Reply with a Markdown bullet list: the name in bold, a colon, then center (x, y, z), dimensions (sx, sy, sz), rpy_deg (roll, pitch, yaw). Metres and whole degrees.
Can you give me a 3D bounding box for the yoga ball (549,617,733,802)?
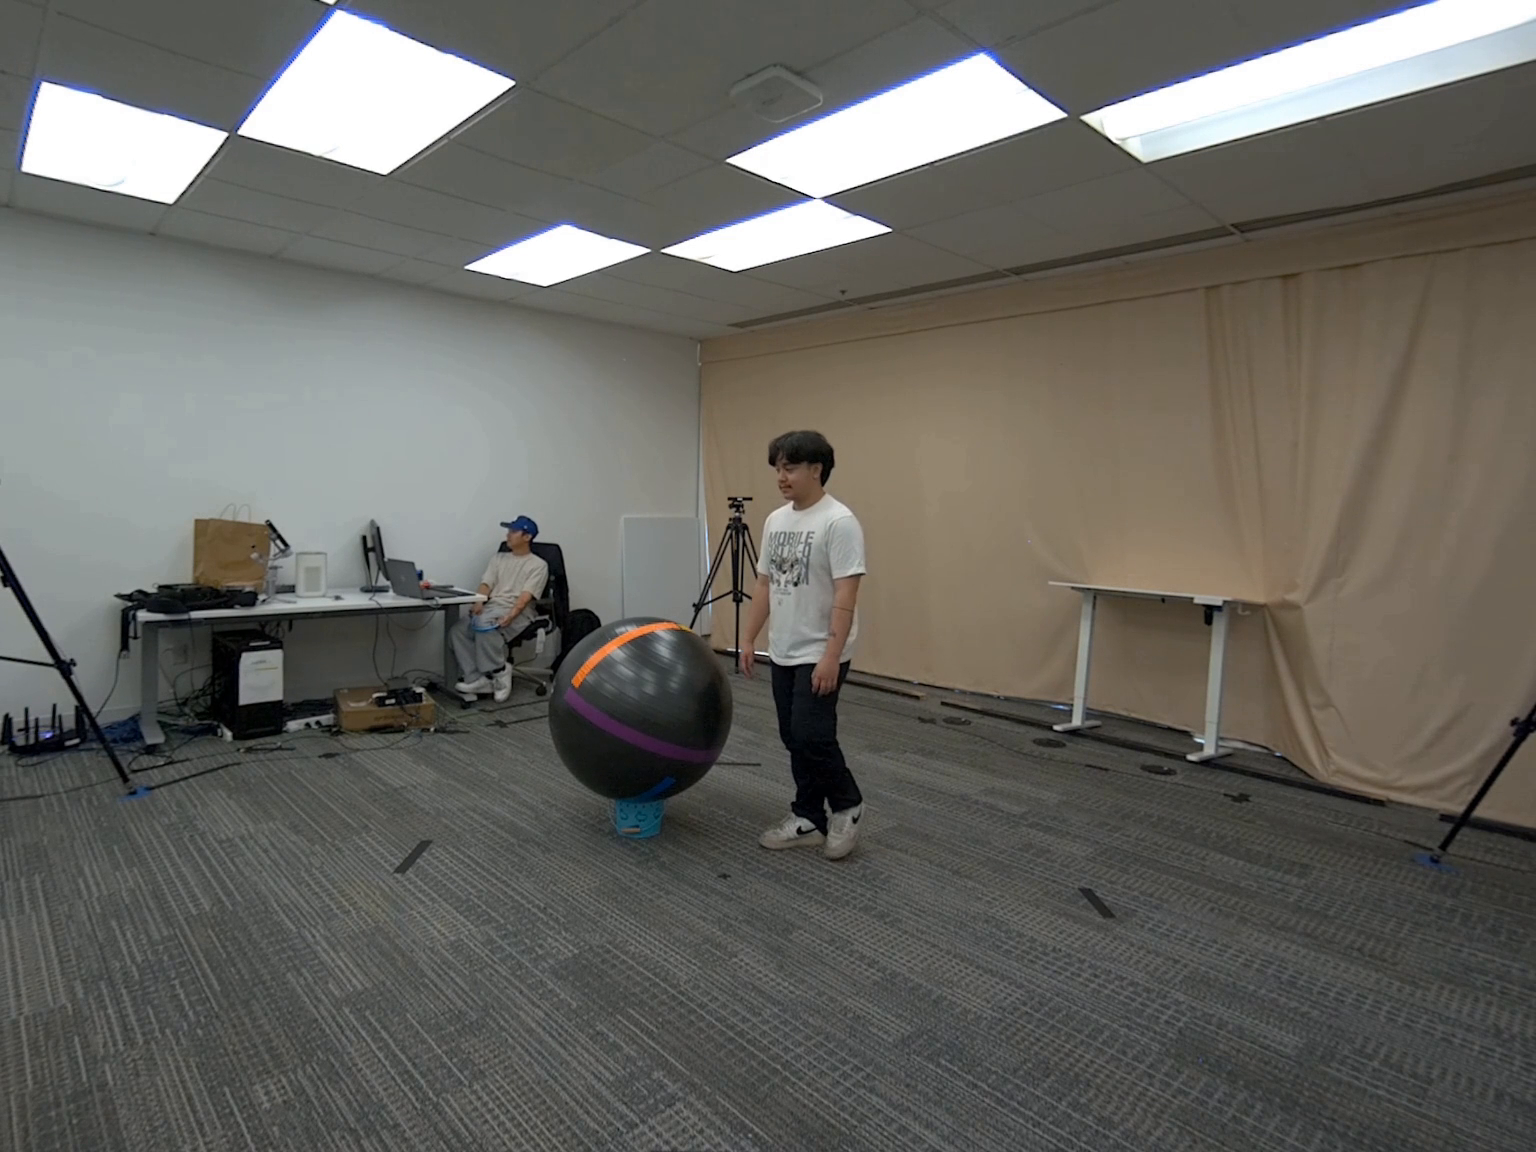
- **yoga ball**: center (-0.531, 0.547, 3.511), dimensions (0.757, 0.756, 0.761), rpy_deg (1, 4, -1)
